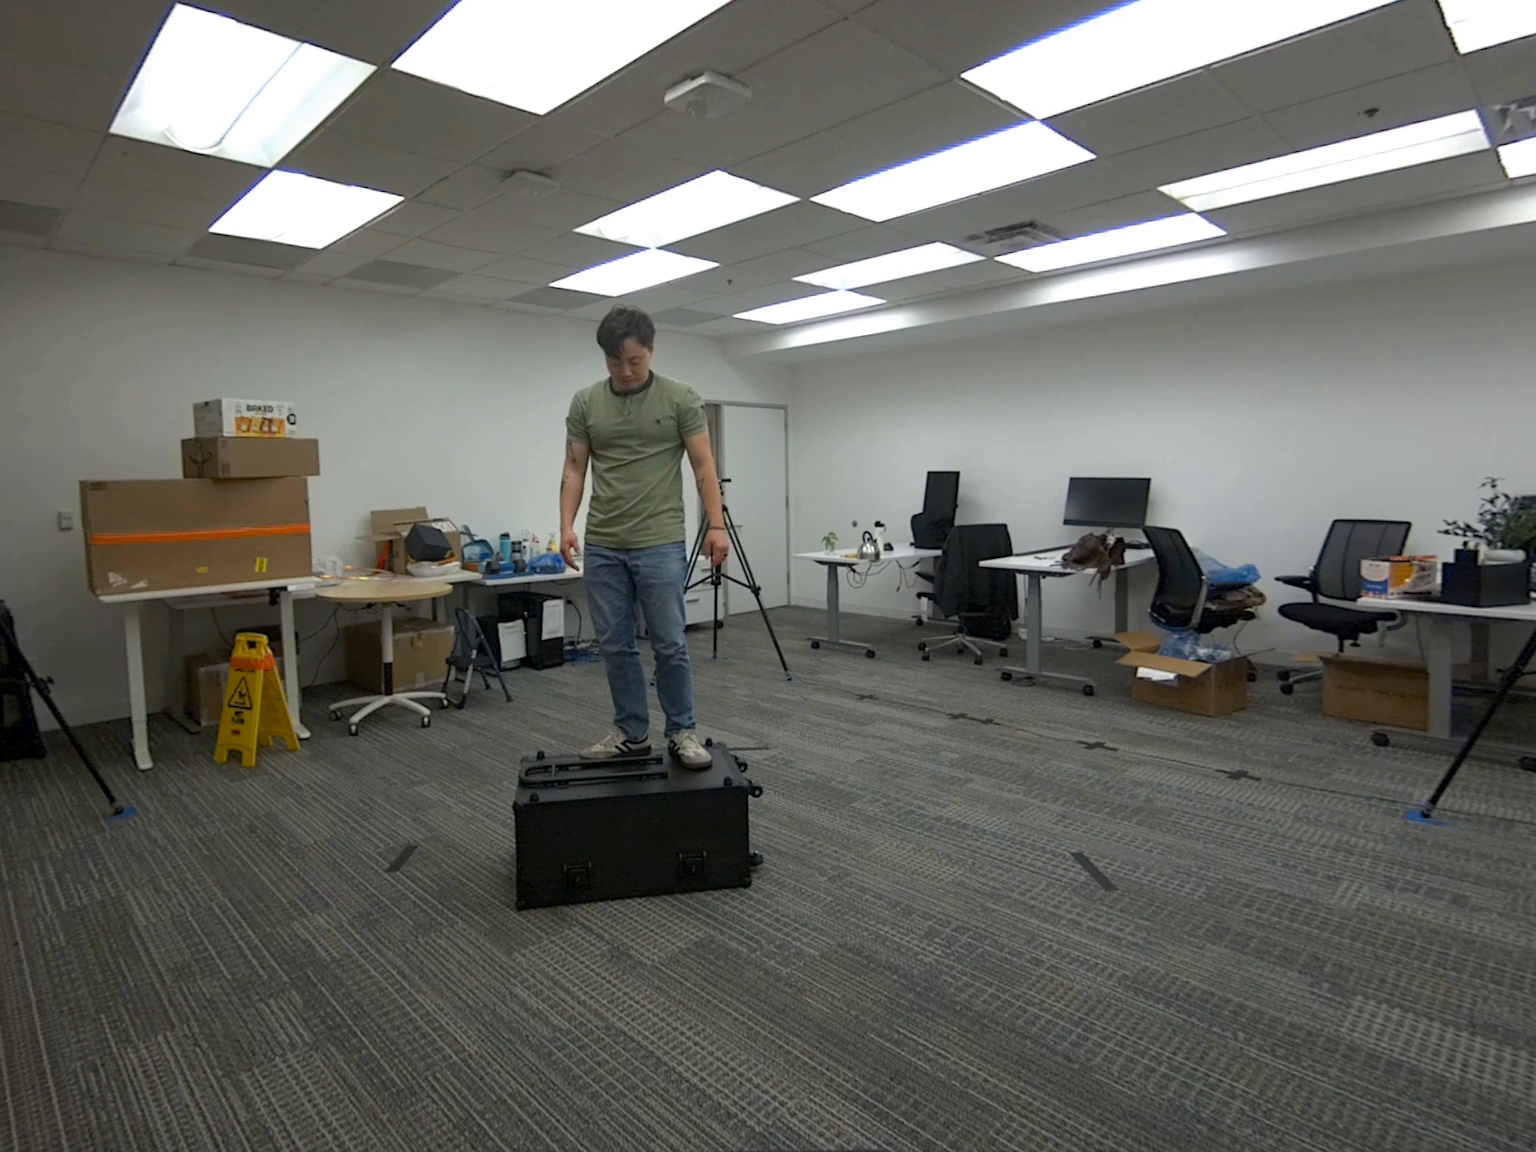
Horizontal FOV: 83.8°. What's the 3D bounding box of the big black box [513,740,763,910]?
[{"bbox_3d":[-0.465,0.862,3.088,0.852,0.395,0.529,-1,5,-11],"label":"big black box"}]
